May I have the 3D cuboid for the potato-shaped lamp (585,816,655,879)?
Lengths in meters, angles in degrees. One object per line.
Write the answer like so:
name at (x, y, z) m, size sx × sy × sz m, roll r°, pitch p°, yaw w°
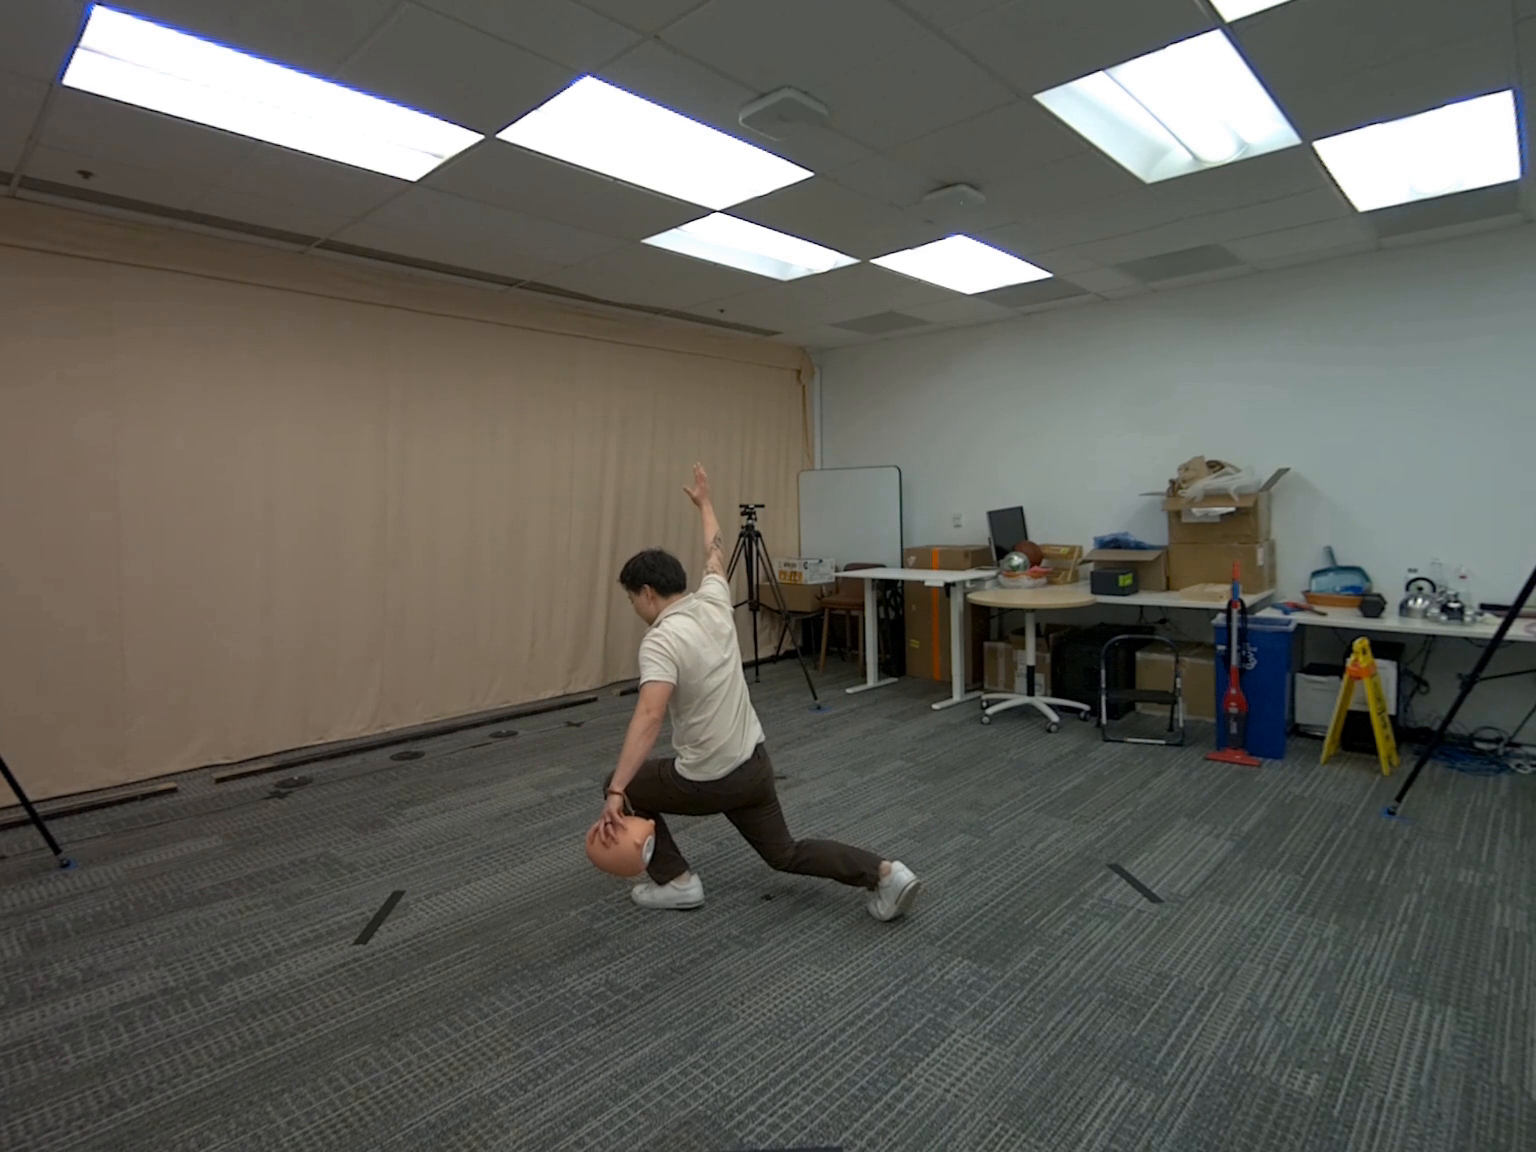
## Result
potato-shaped lamp at (-0.442, 0.797, 2.483) m, size 0.201 × 0.169 × 0.163 m, roll 7°, pitch 20°, yaw 15°
